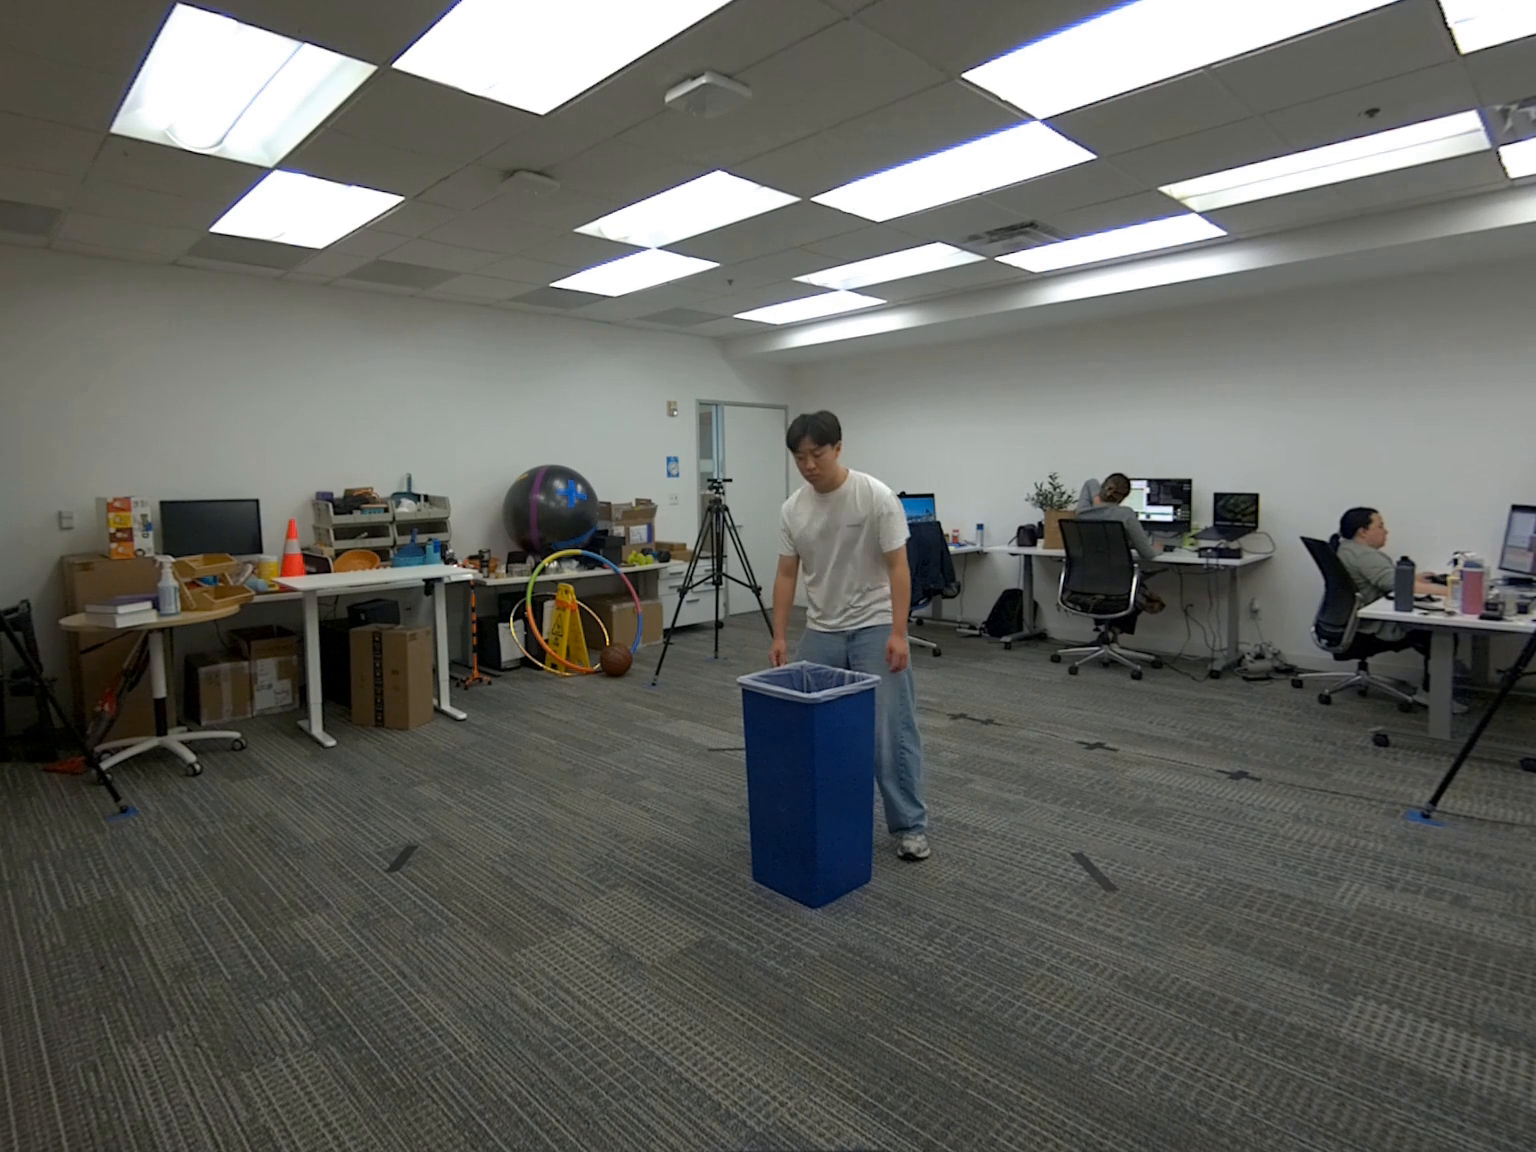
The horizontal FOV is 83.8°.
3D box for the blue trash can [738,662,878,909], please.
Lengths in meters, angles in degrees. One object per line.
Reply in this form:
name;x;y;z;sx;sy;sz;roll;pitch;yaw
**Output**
blue trash can;0.144;0.701;2.941;0.364;0.711;0.389;-4;5;-44
